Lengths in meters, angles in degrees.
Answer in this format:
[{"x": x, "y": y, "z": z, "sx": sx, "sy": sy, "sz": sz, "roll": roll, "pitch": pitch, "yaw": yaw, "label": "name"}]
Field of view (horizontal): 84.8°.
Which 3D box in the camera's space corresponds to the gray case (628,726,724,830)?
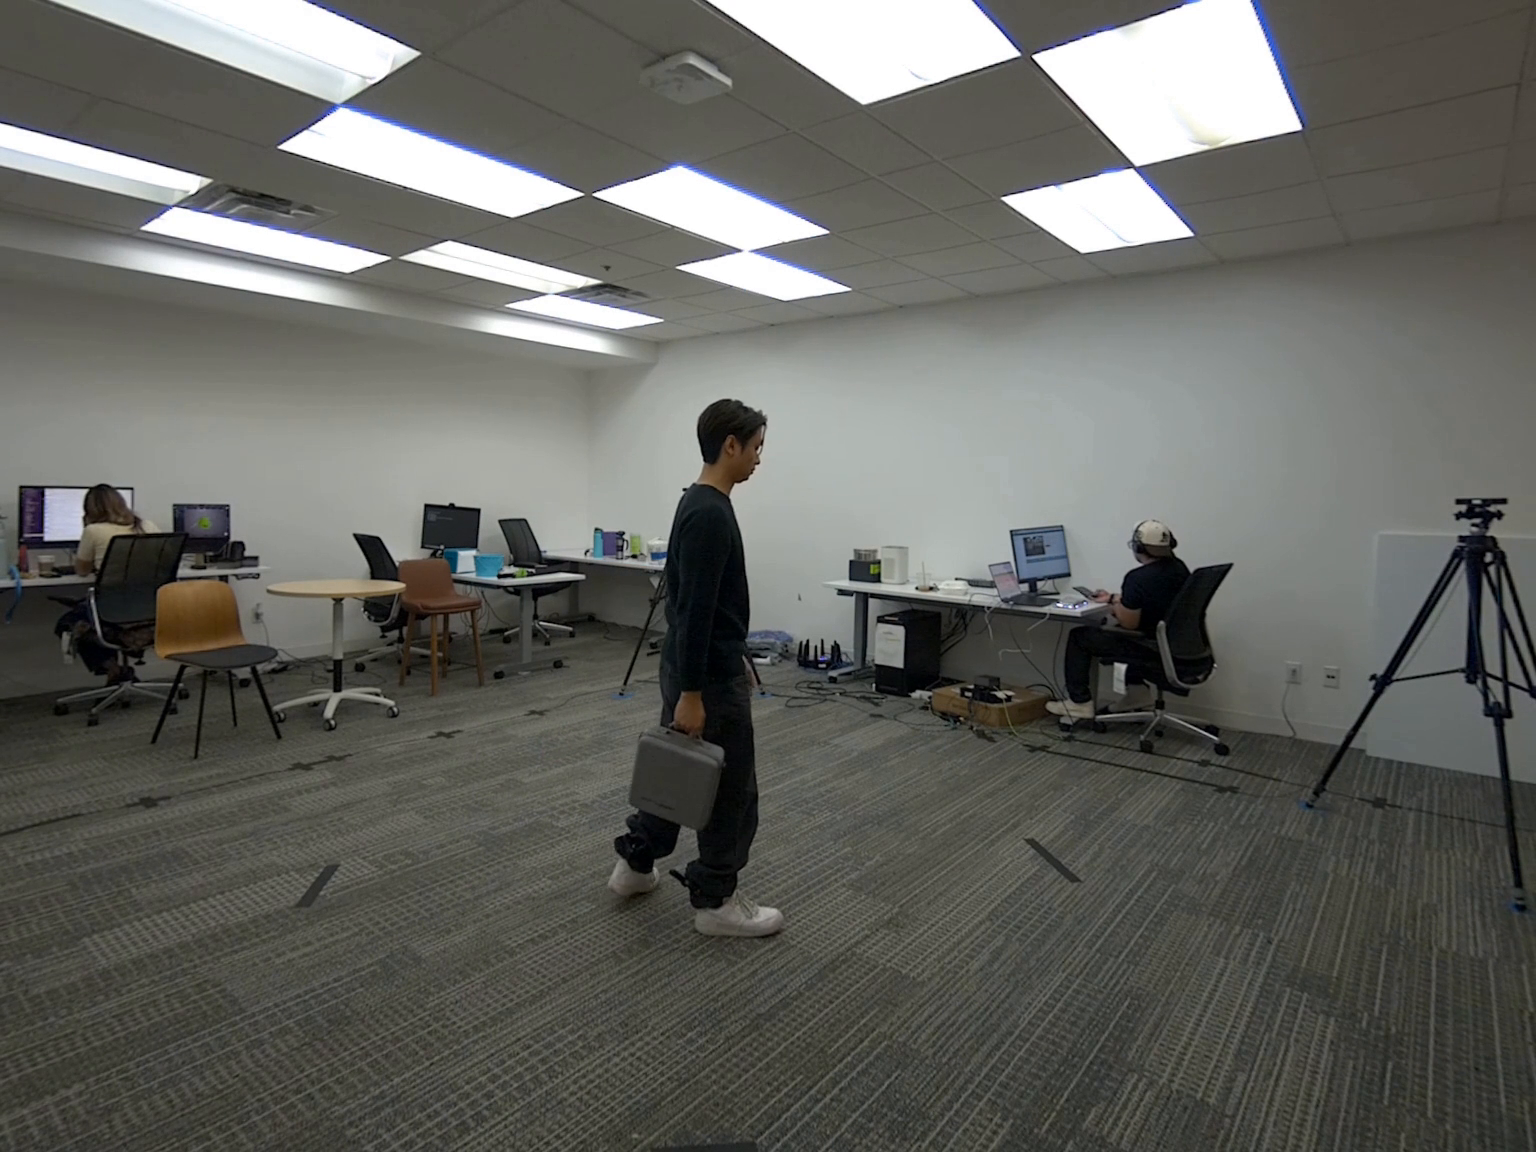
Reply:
[{"x": -0.281, "y": 0.590, "z": 2.532, "sx": 0.261, "sy": 0.257, "sz": 0.104, "roll": 16, "pitch": 17, "yaw": 12, "label": "gray case"}]
